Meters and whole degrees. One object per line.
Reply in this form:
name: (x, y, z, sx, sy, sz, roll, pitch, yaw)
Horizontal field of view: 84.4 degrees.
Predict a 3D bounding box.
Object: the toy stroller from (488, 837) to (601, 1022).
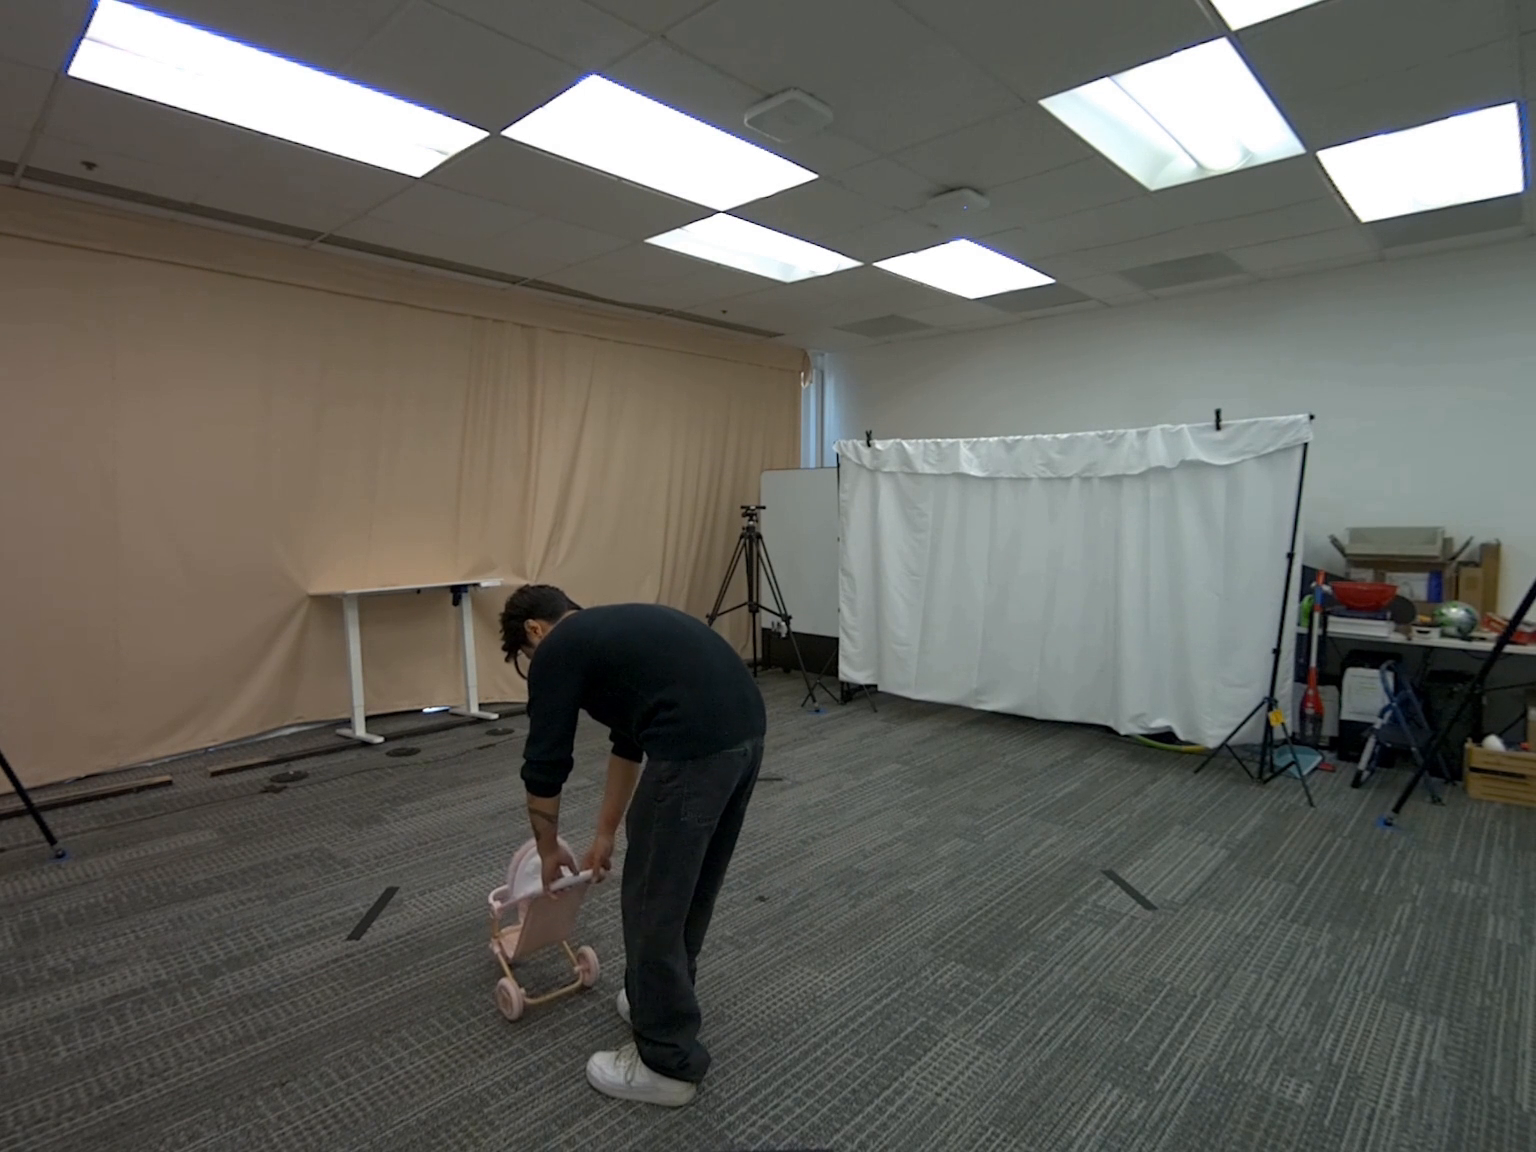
toy stroller: (-0.655, 0.974, 2.410, 0.273, 0.531, 0.354, -1, 21, -37)
